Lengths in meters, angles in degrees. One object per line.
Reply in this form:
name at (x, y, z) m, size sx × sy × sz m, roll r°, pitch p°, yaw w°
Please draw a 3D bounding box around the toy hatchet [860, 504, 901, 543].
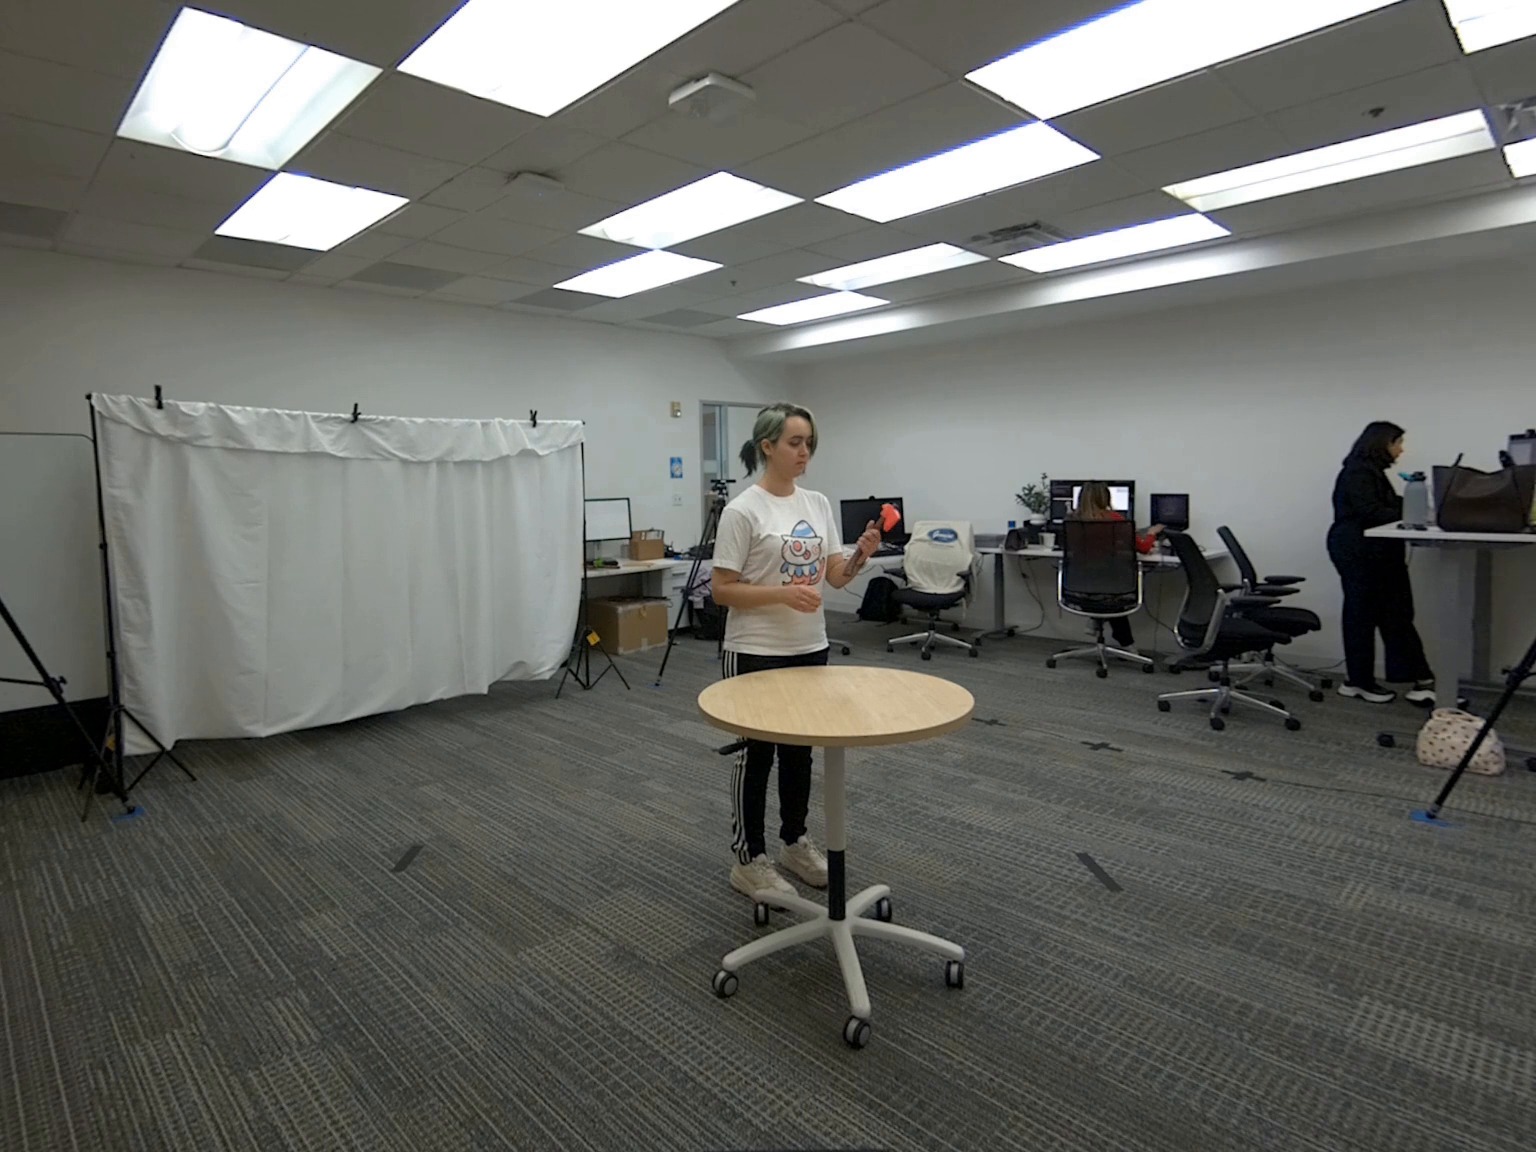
toy hatchet at (0.330, -0.109, 2.656) m, size 0.029 × 0.270 × 0.135 m, roll 33°, pitch -5°, yaw -26°
